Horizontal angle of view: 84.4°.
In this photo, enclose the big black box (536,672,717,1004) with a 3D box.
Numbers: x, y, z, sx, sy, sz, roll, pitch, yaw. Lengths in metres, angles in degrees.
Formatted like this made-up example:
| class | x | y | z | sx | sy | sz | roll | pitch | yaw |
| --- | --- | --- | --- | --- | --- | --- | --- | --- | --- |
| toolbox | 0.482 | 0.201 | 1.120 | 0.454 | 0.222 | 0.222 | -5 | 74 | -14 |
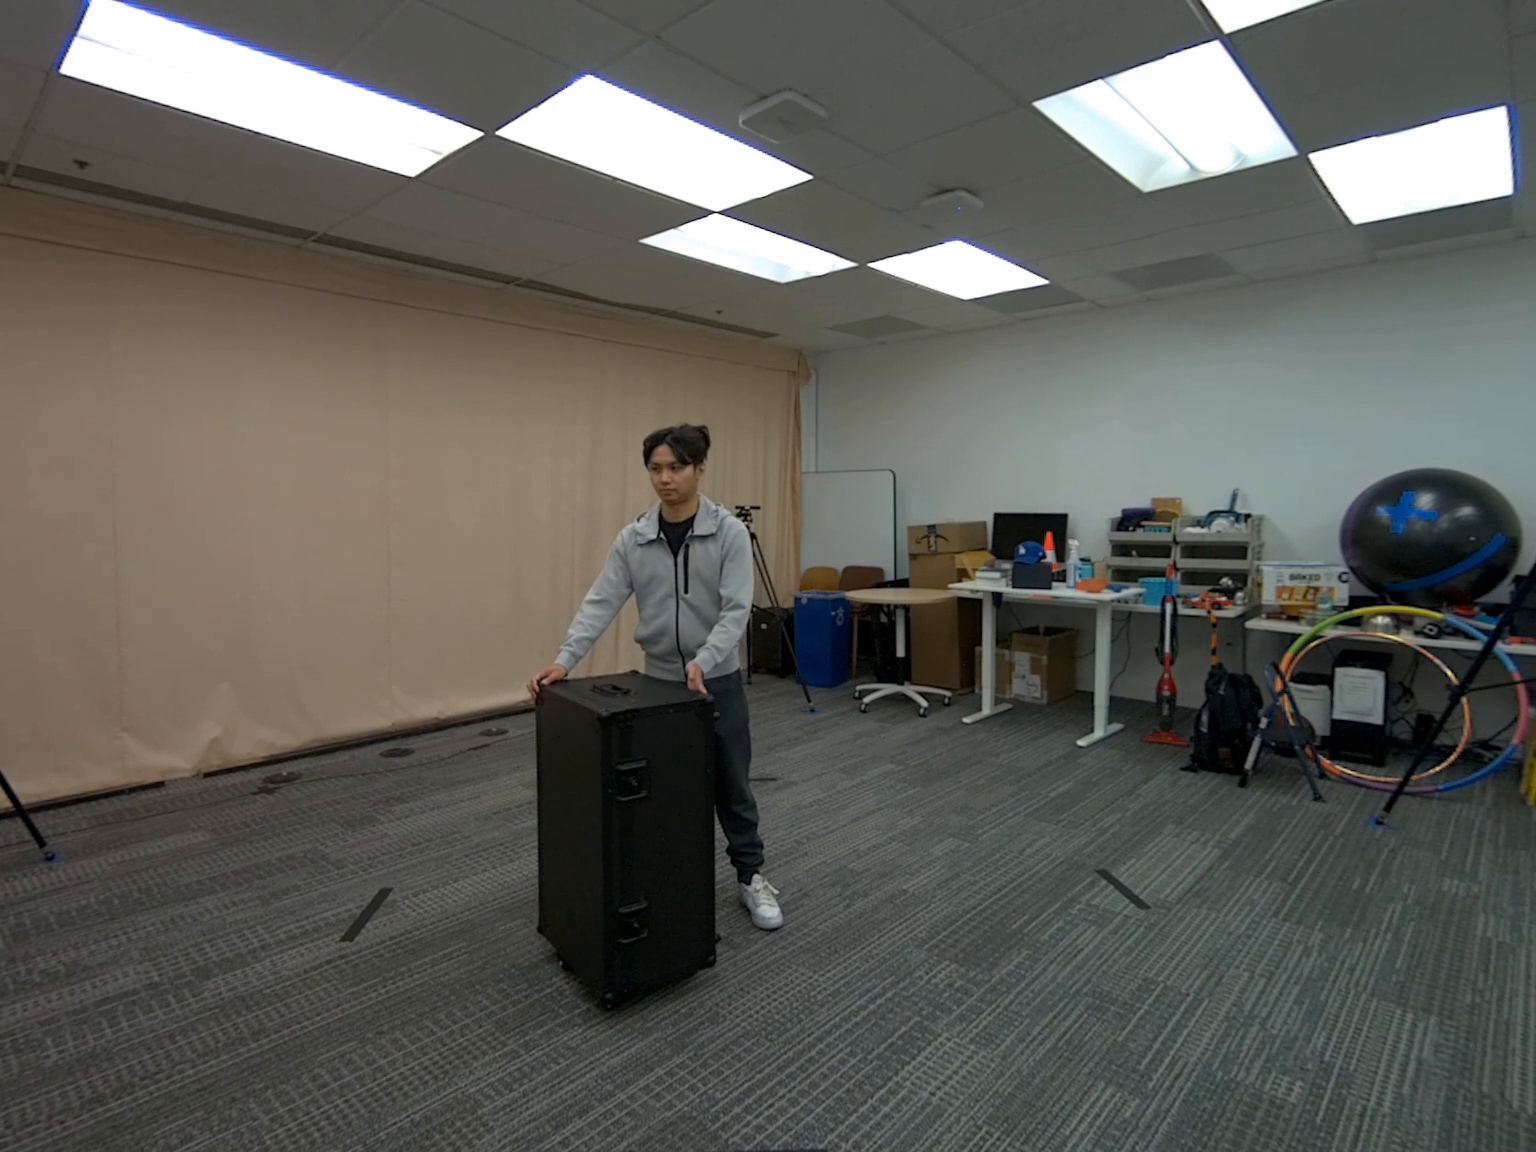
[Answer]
| class | x | y | z | sx | sy | sz | roll | pitch | yaw |
| --- | --- | --- | --- | --- | --- | --- | --- | --- | --- |
| big black box | -0.436 | 0.762 | 2.514 | 0.385 | 0.860 | 0.537 | -2 | 3 | -34 |
